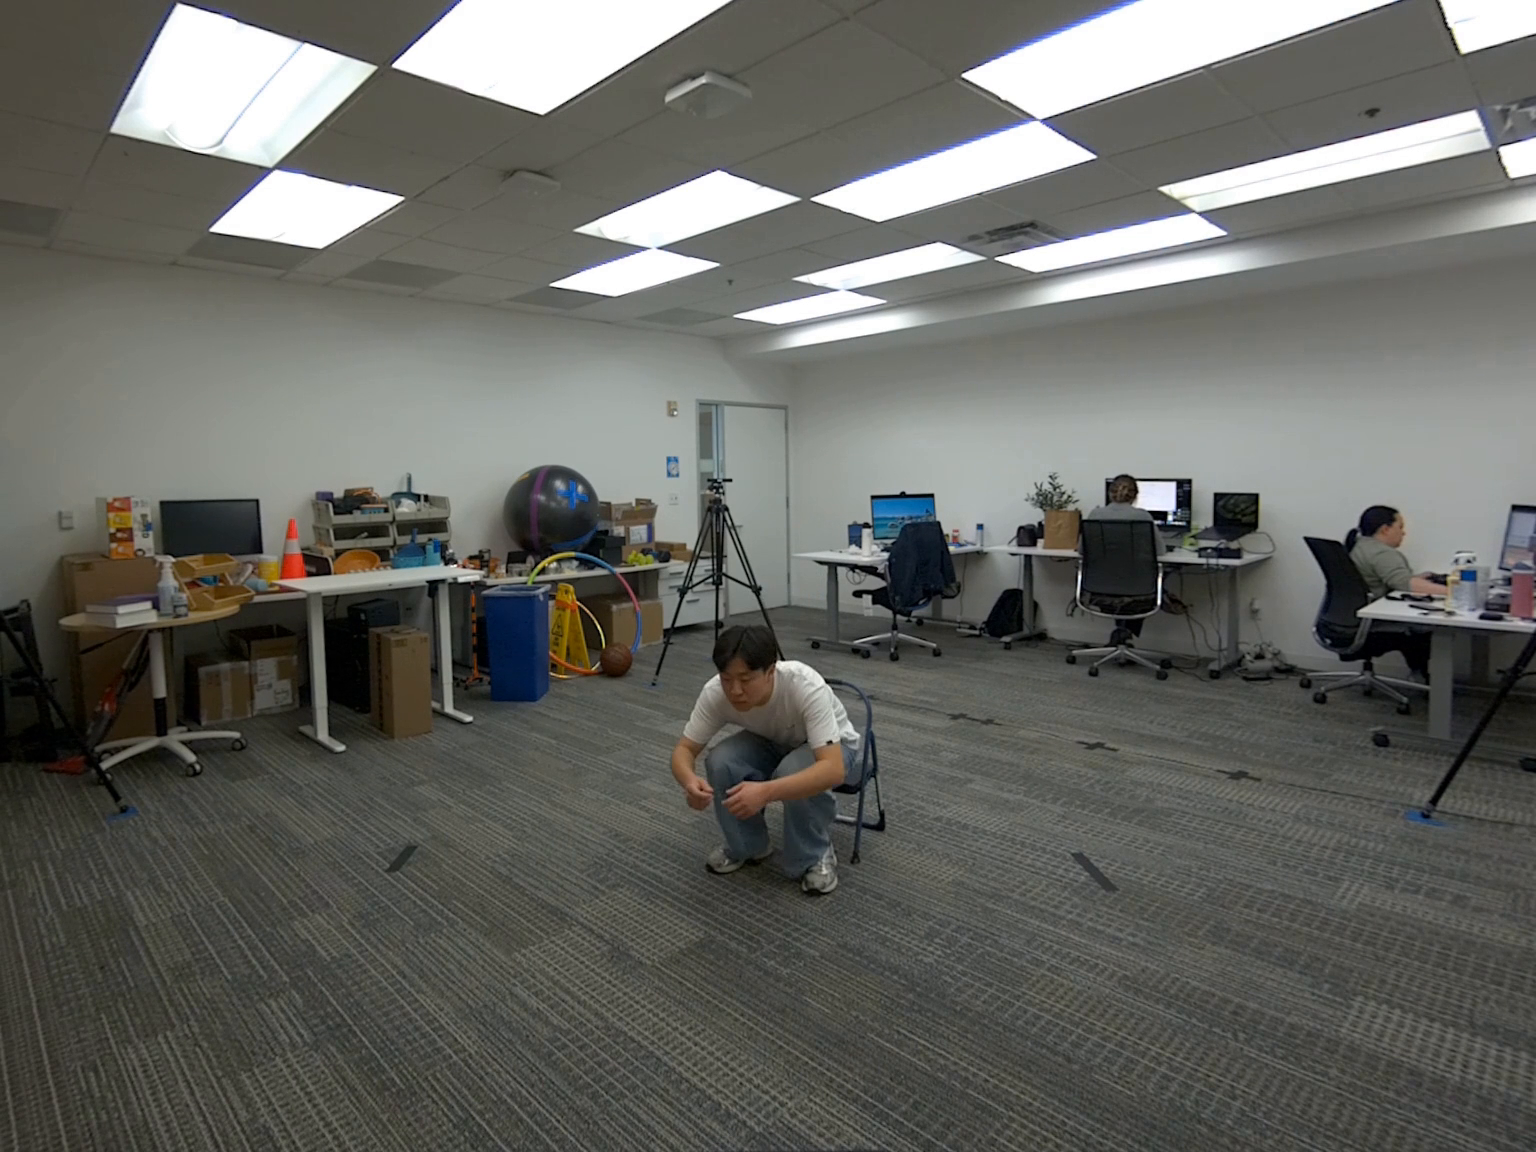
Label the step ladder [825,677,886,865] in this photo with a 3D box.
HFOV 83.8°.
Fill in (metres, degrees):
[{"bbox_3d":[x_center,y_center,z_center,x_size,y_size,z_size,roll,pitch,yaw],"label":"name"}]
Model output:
[{"bbox_3d":[0.211,0.714,3.324,0.442,0.604,0.342,2,5,28],"label":"step ladder"}]
